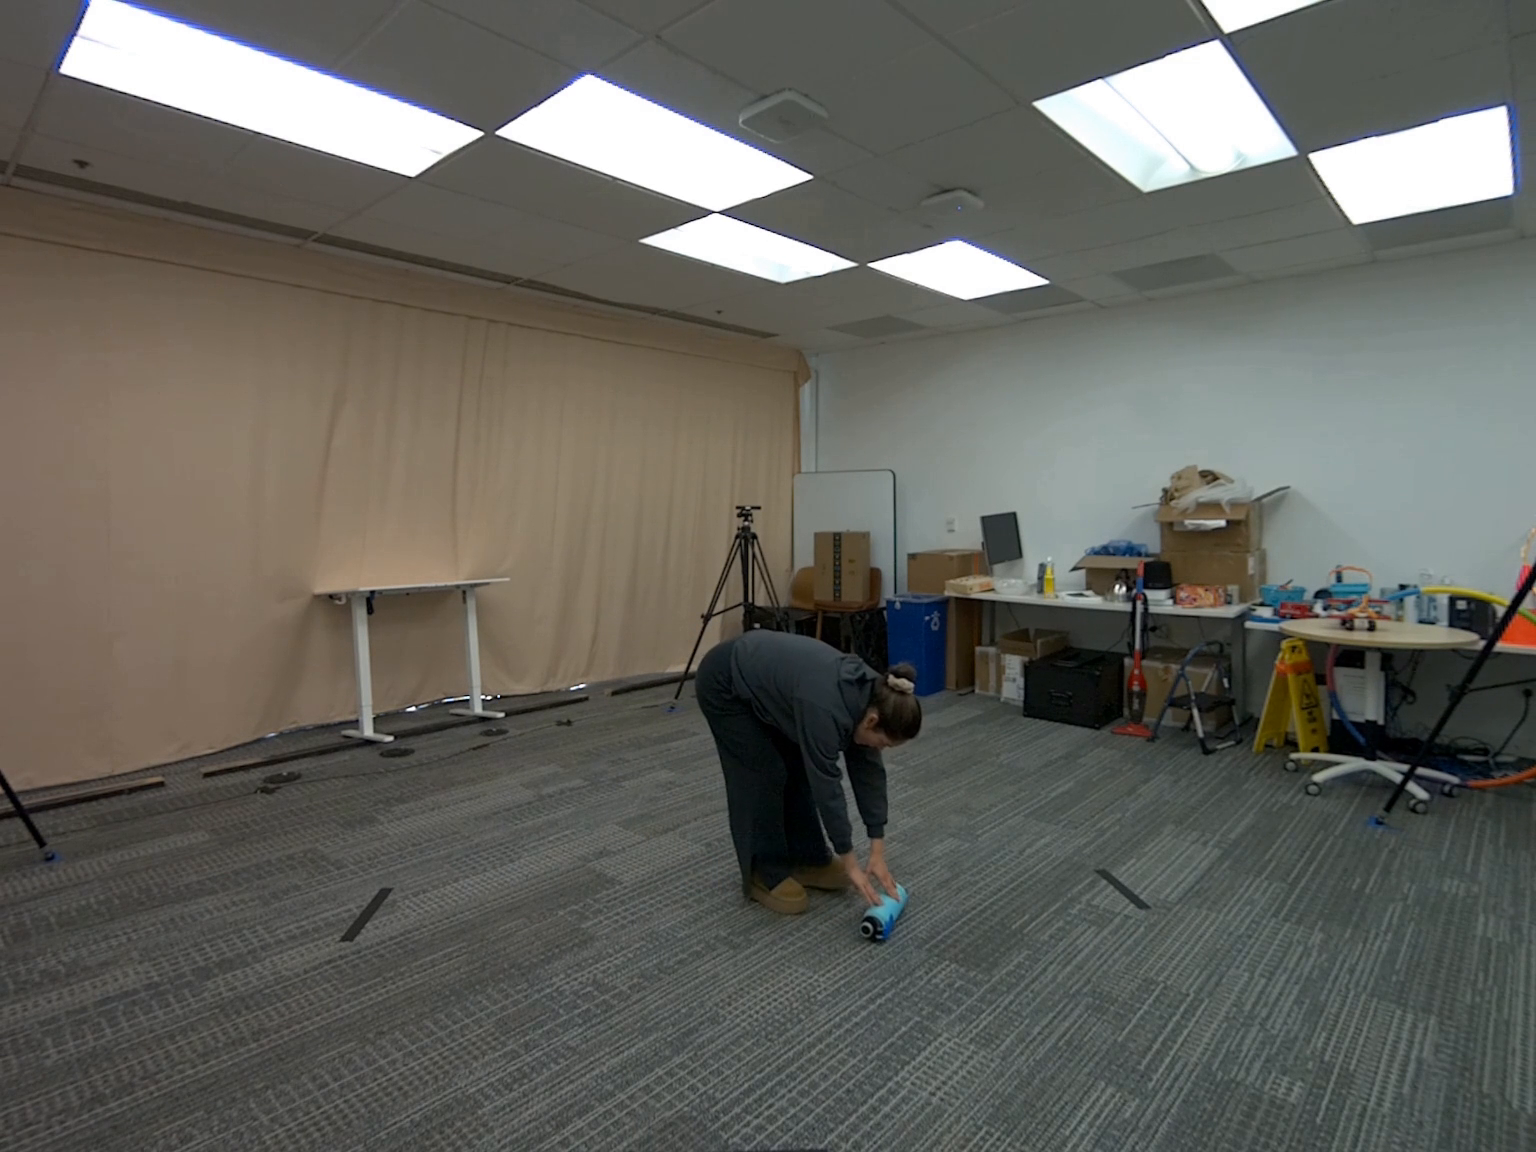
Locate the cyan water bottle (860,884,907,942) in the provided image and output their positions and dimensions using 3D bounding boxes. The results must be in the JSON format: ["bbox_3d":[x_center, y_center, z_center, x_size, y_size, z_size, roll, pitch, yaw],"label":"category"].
[{"bbox_3d":[0.402,1.108,2.783,0.095,0.092,0.277,2,5,25],"label":"cyan water bottle"}]
